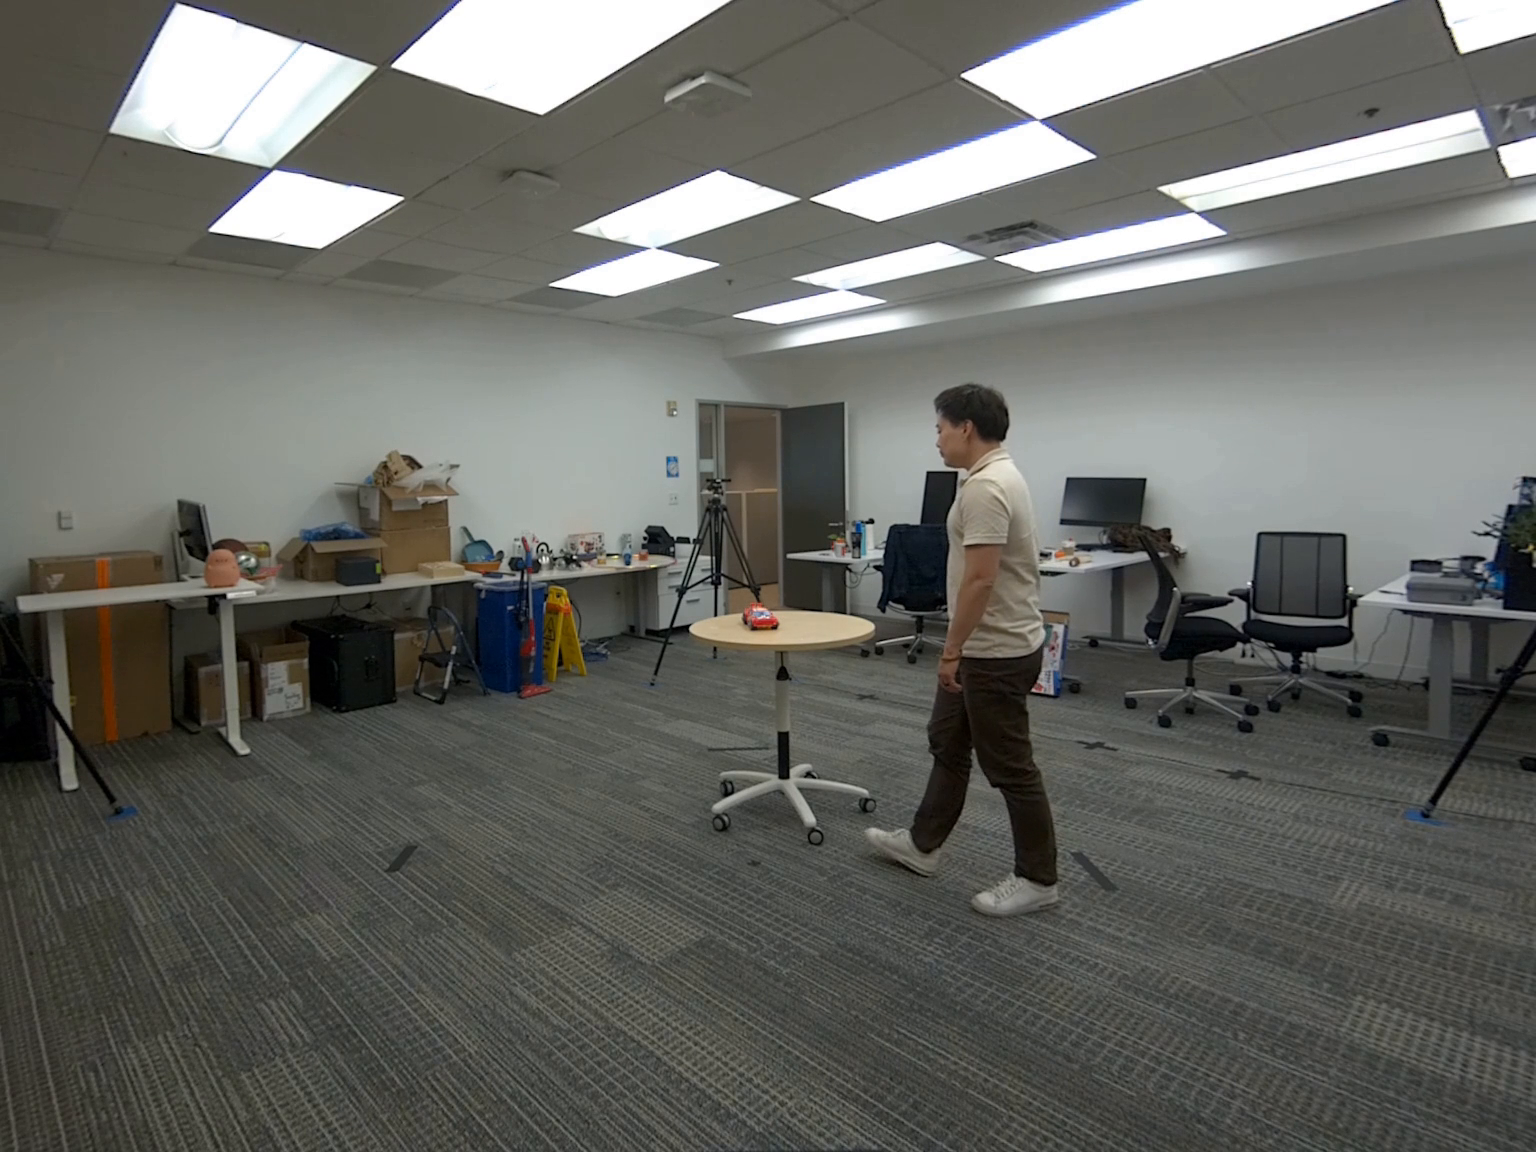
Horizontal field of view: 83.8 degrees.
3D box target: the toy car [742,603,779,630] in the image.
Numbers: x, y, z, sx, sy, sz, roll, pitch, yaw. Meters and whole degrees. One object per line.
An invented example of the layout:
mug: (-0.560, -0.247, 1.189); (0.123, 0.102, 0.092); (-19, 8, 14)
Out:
toy car: (-0.037, 0.173, 3.574); (0.129, 0.082, 0.261); (-3, 18, -11)
